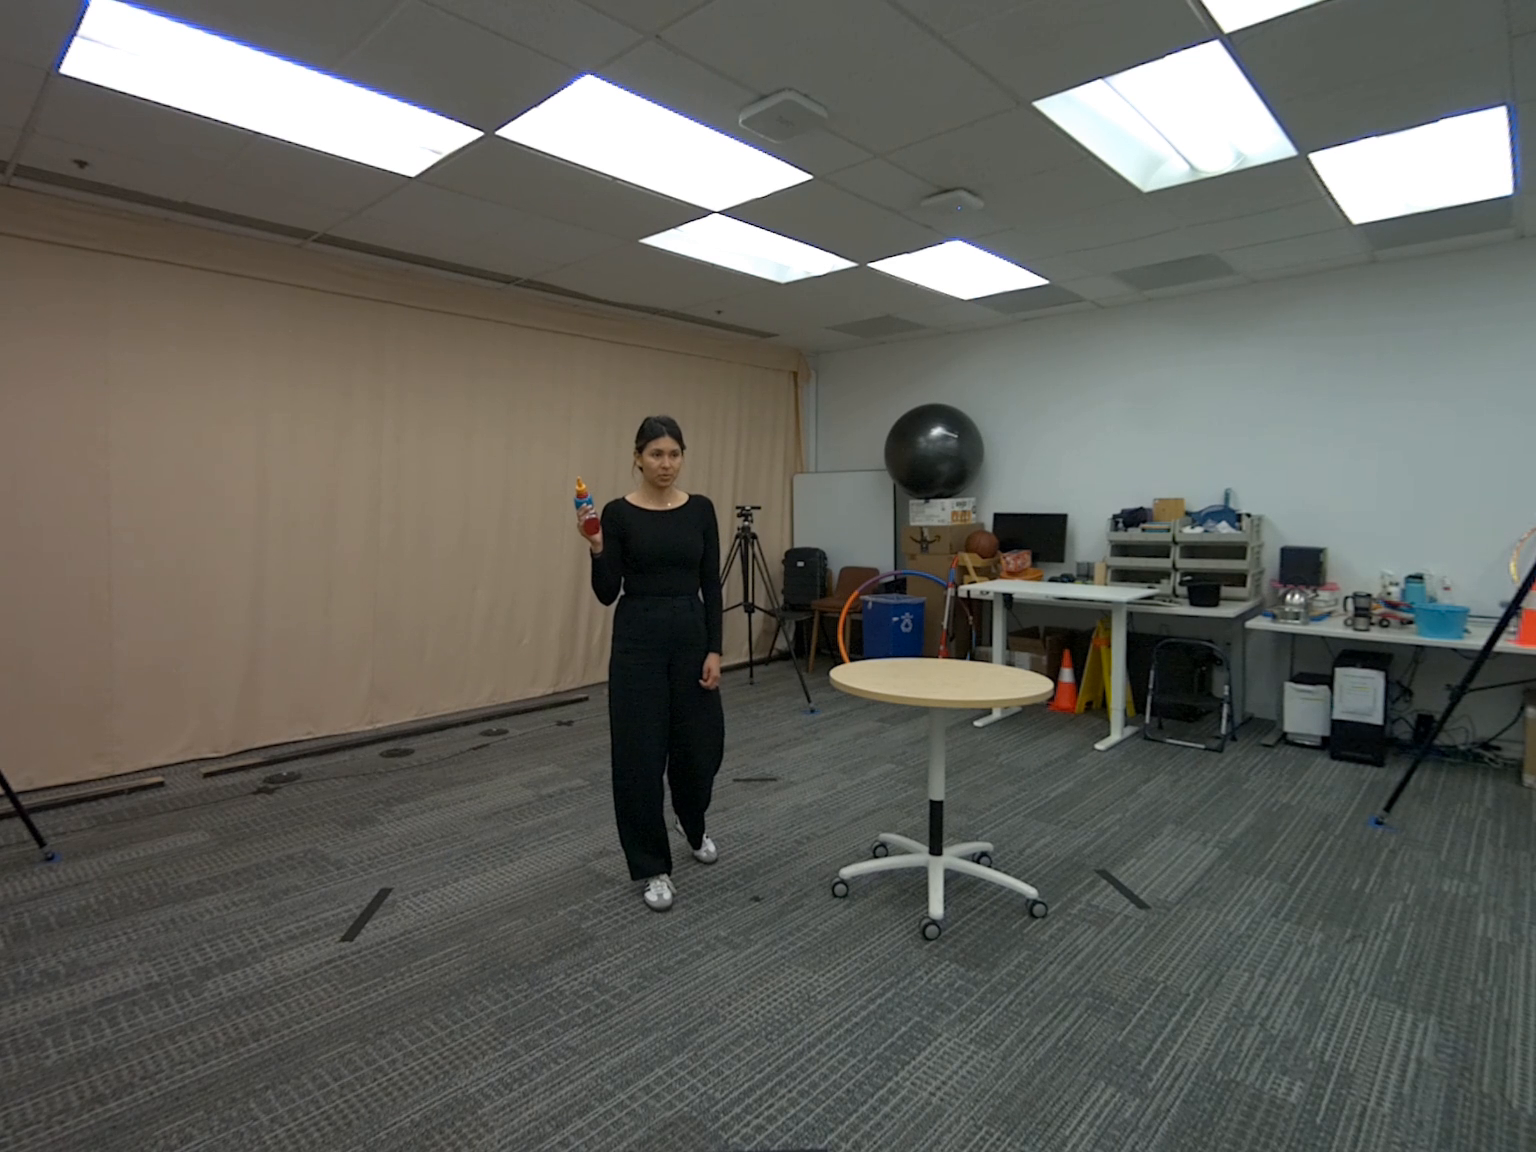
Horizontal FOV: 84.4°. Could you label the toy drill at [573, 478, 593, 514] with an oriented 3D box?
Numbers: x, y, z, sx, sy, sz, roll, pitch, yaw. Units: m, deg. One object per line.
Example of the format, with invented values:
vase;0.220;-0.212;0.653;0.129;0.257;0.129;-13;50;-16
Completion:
toy drill;-0.603;-0.231;2.762;0.060;0.166;0.151;-12;41;-15
